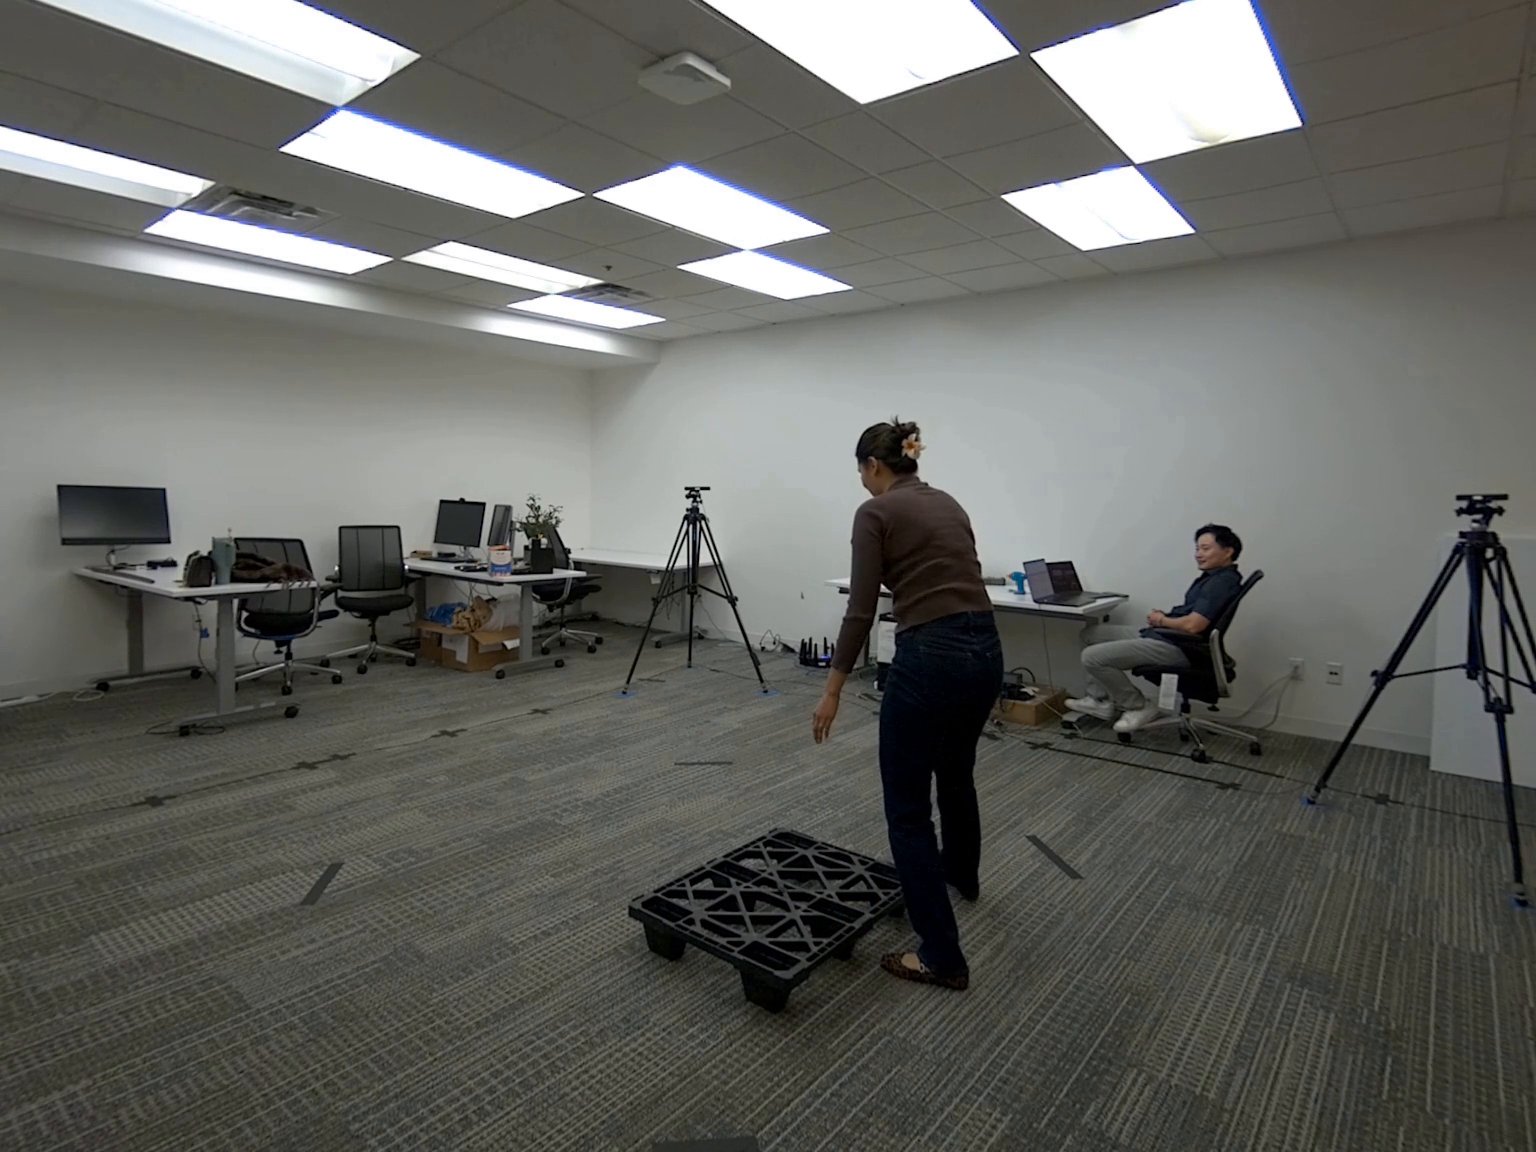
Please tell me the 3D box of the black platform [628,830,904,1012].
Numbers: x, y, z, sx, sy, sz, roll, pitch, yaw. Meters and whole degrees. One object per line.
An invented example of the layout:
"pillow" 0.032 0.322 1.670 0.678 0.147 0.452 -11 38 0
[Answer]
"black platform" 0.034 1.046 2.677 0.625 0.143 0.782 5 6 38
